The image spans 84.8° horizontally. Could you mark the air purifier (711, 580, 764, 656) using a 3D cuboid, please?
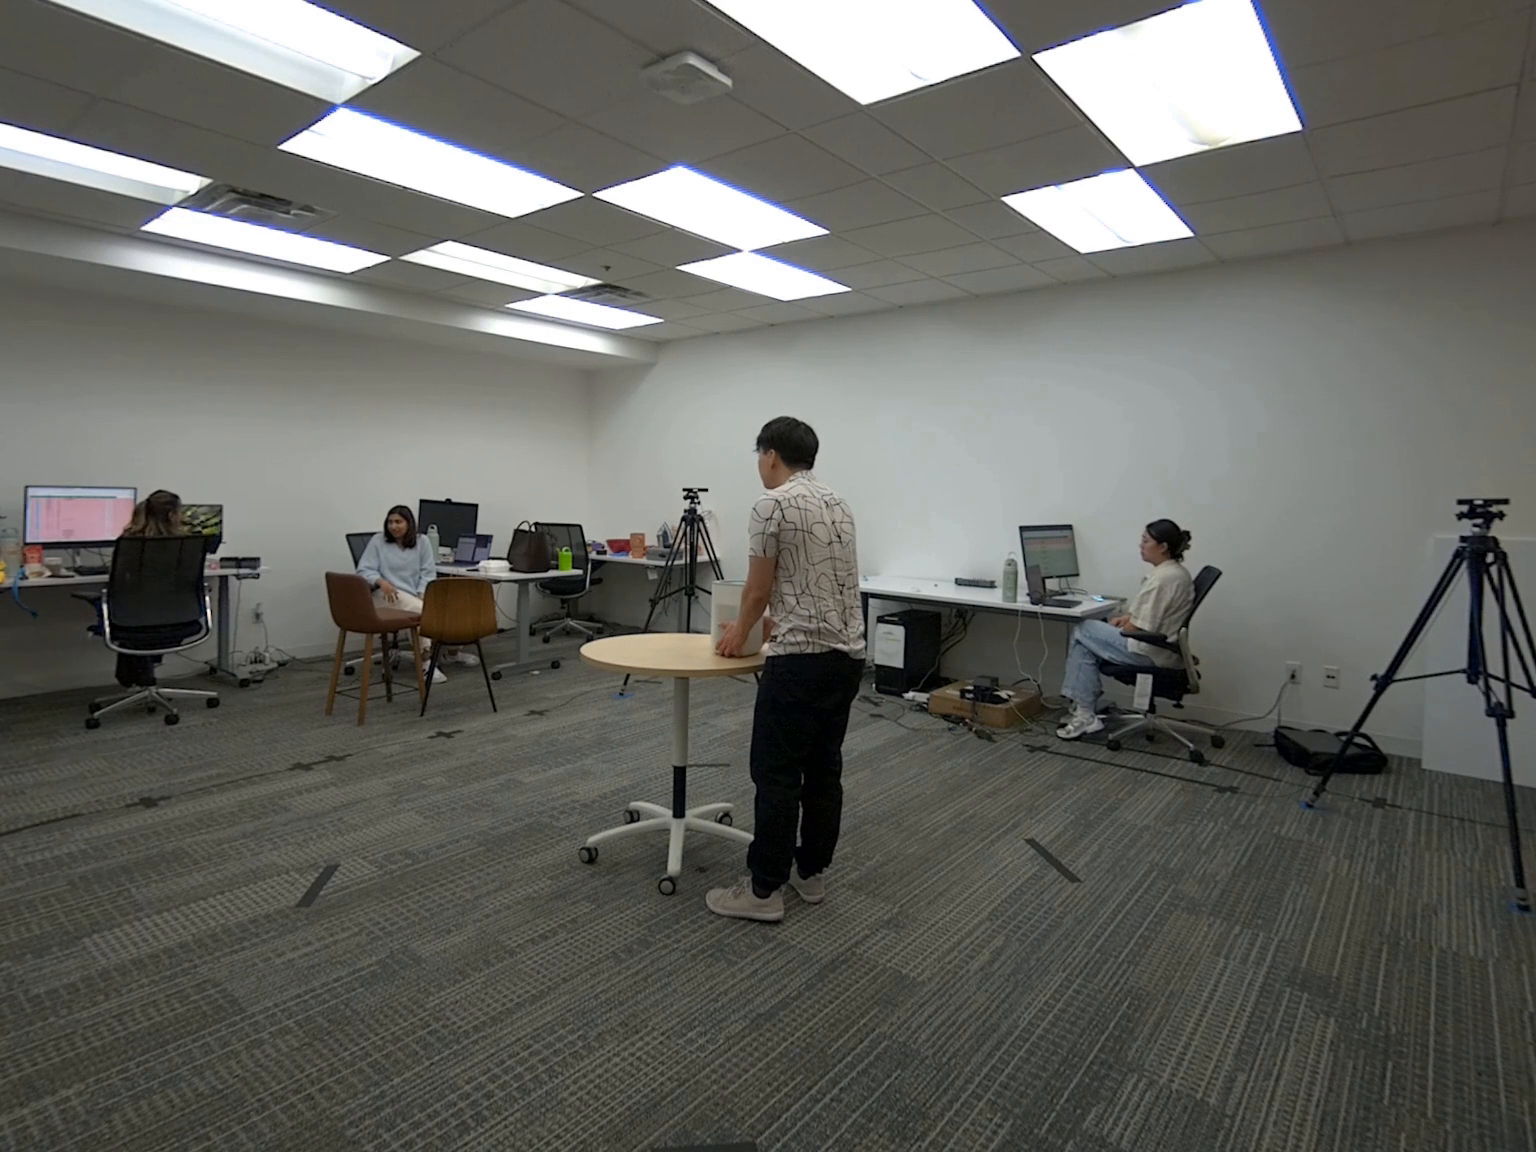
[{"bbox_3d":[-0.128,0.153,3.169,0.176,0.265,0.167,1,3,27],"label":"air purifier"}]
